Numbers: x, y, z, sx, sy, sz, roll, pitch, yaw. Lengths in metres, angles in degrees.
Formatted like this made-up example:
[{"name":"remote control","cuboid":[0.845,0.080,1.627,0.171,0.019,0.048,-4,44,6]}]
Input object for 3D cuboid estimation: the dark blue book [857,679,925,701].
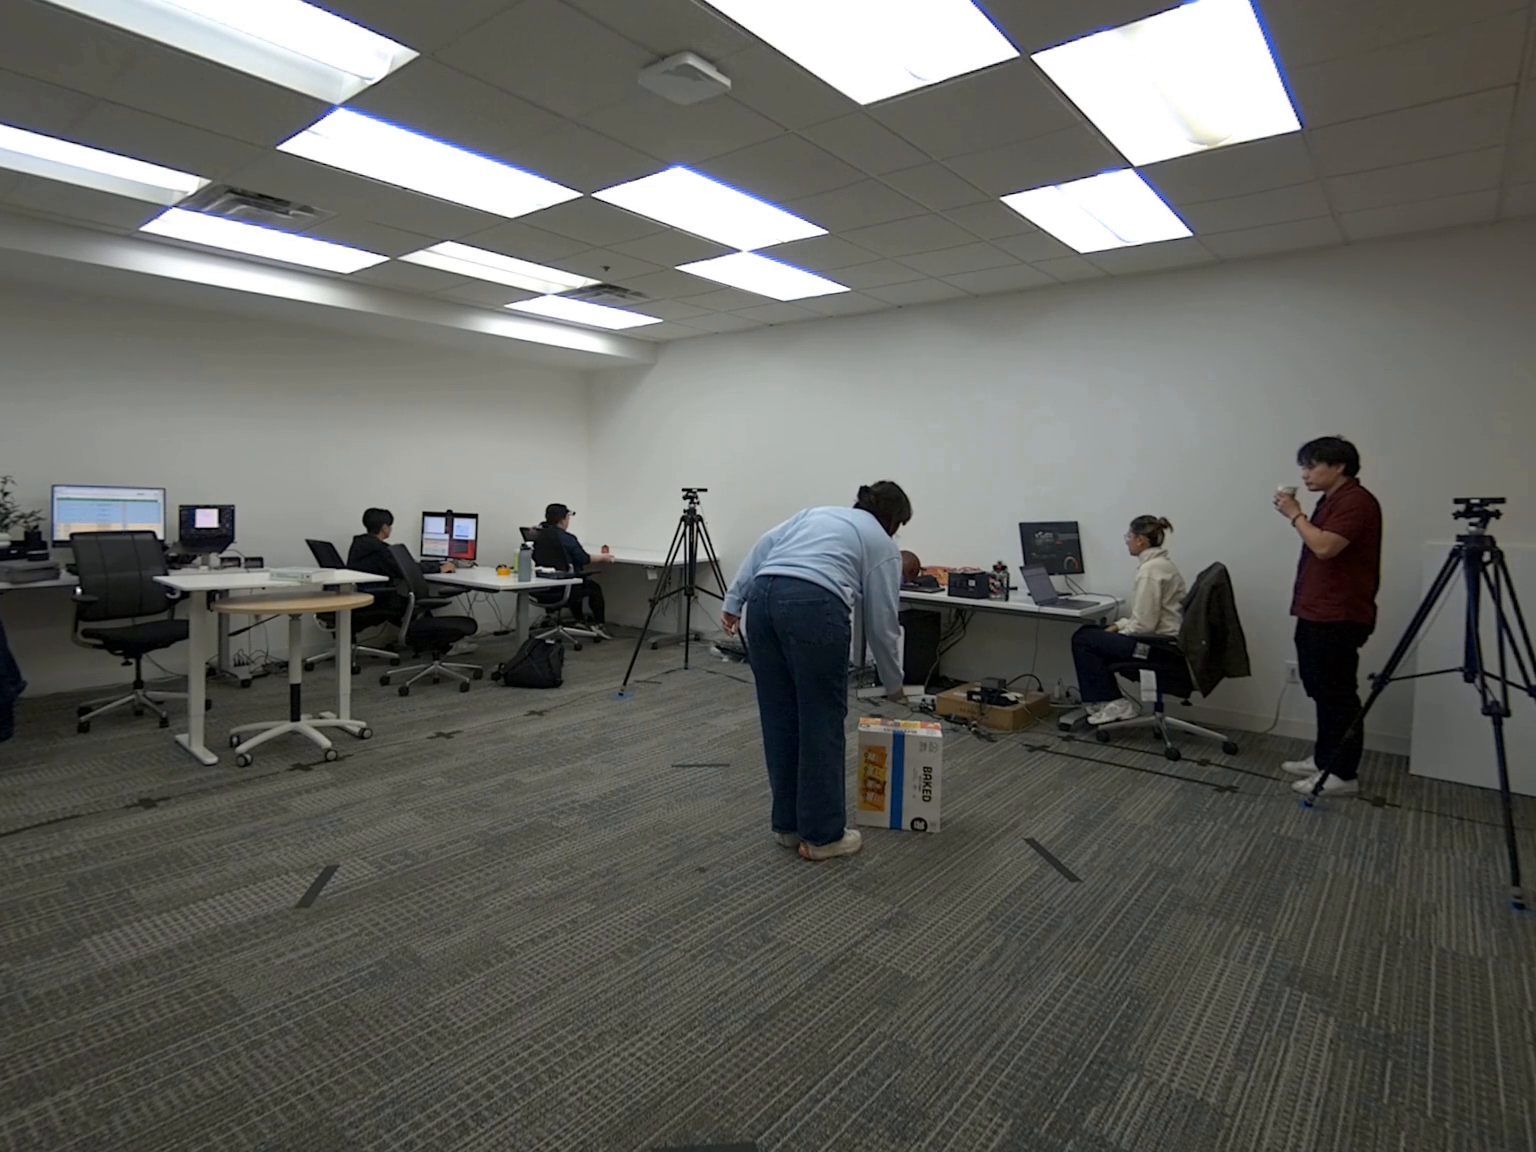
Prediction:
[{"name":"dark blue book","cuboid":[0.506,0.478,3.570,0.238,0.046,0.166,3,-12,-31]}]
